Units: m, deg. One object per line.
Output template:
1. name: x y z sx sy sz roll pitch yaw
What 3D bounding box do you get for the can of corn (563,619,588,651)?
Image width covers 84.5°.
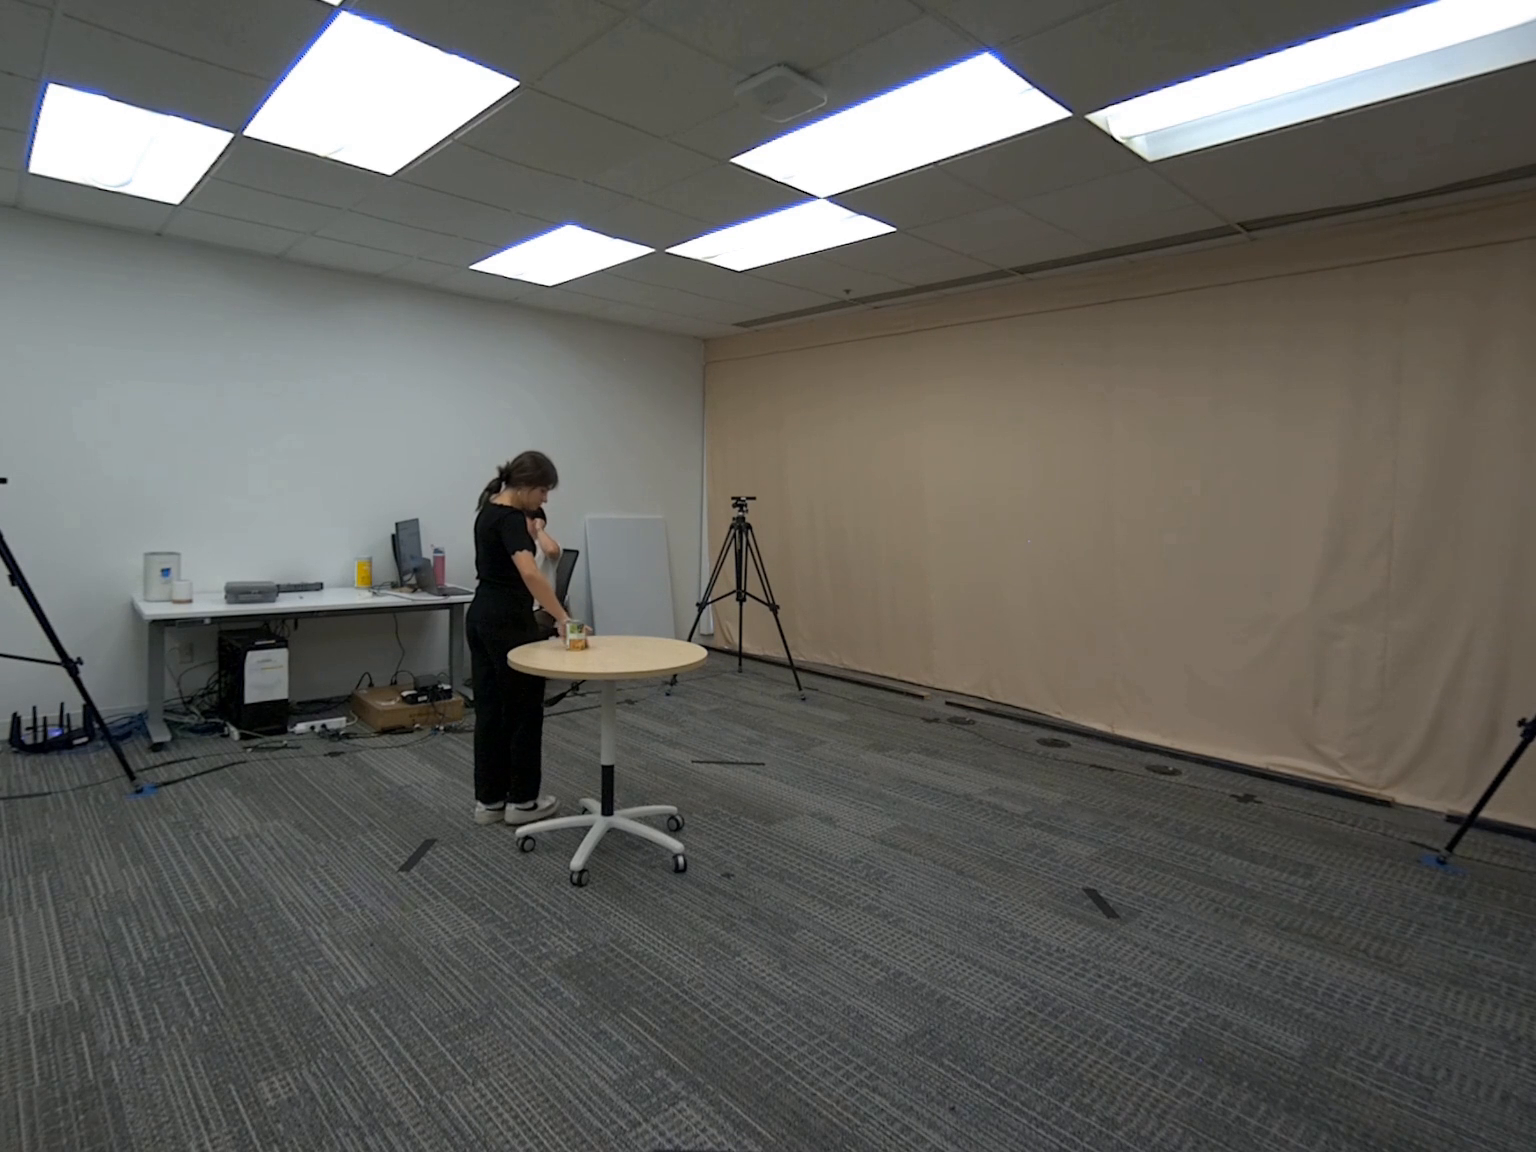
1. can of corn: -0.768 0.234 3.304 0.074 0.111 0.074 -1 2 -1
